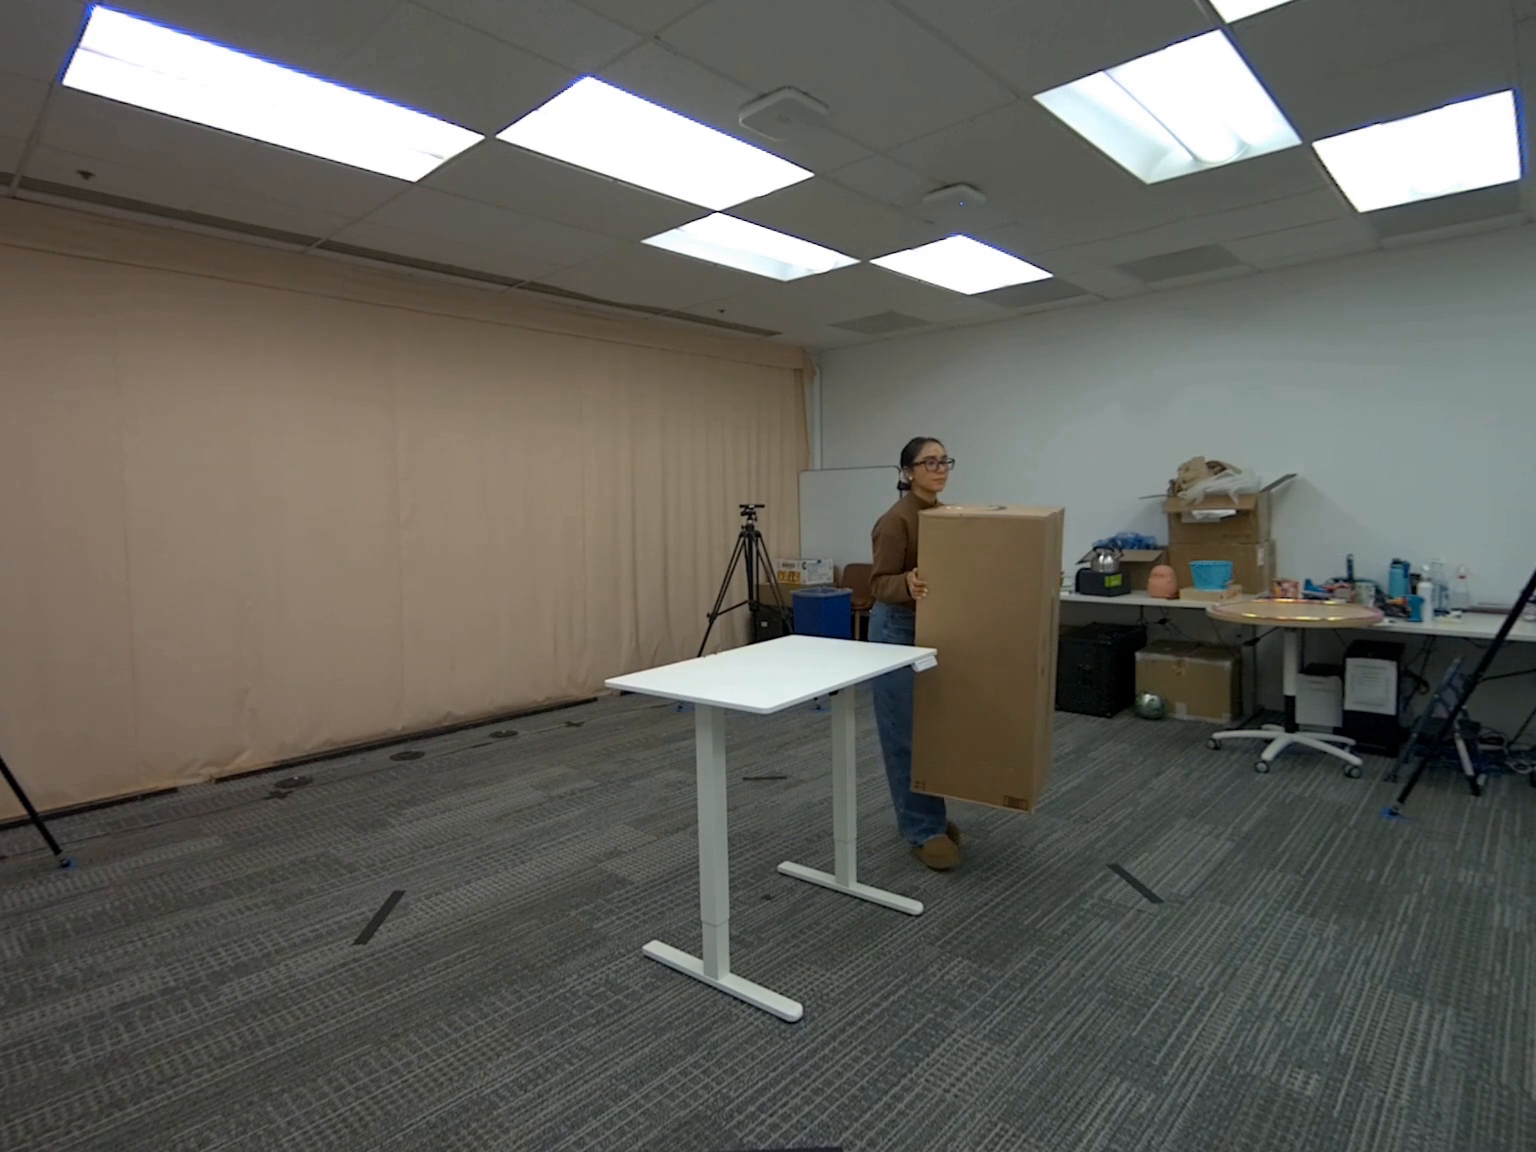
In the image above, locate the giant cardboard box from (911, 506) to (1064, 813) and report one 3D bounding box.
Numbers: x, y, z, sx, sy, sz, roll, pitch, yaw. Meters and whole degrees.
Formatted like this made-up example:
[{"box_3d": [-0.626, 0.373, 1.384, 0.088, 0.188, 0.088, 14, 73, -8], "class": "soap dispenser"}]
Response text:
[{"box_3d": [0.841, 0.258, 3.146, 0.438, 1.021, 0.565, 3, 7, 26], "class": "giant cardboard box"}]
